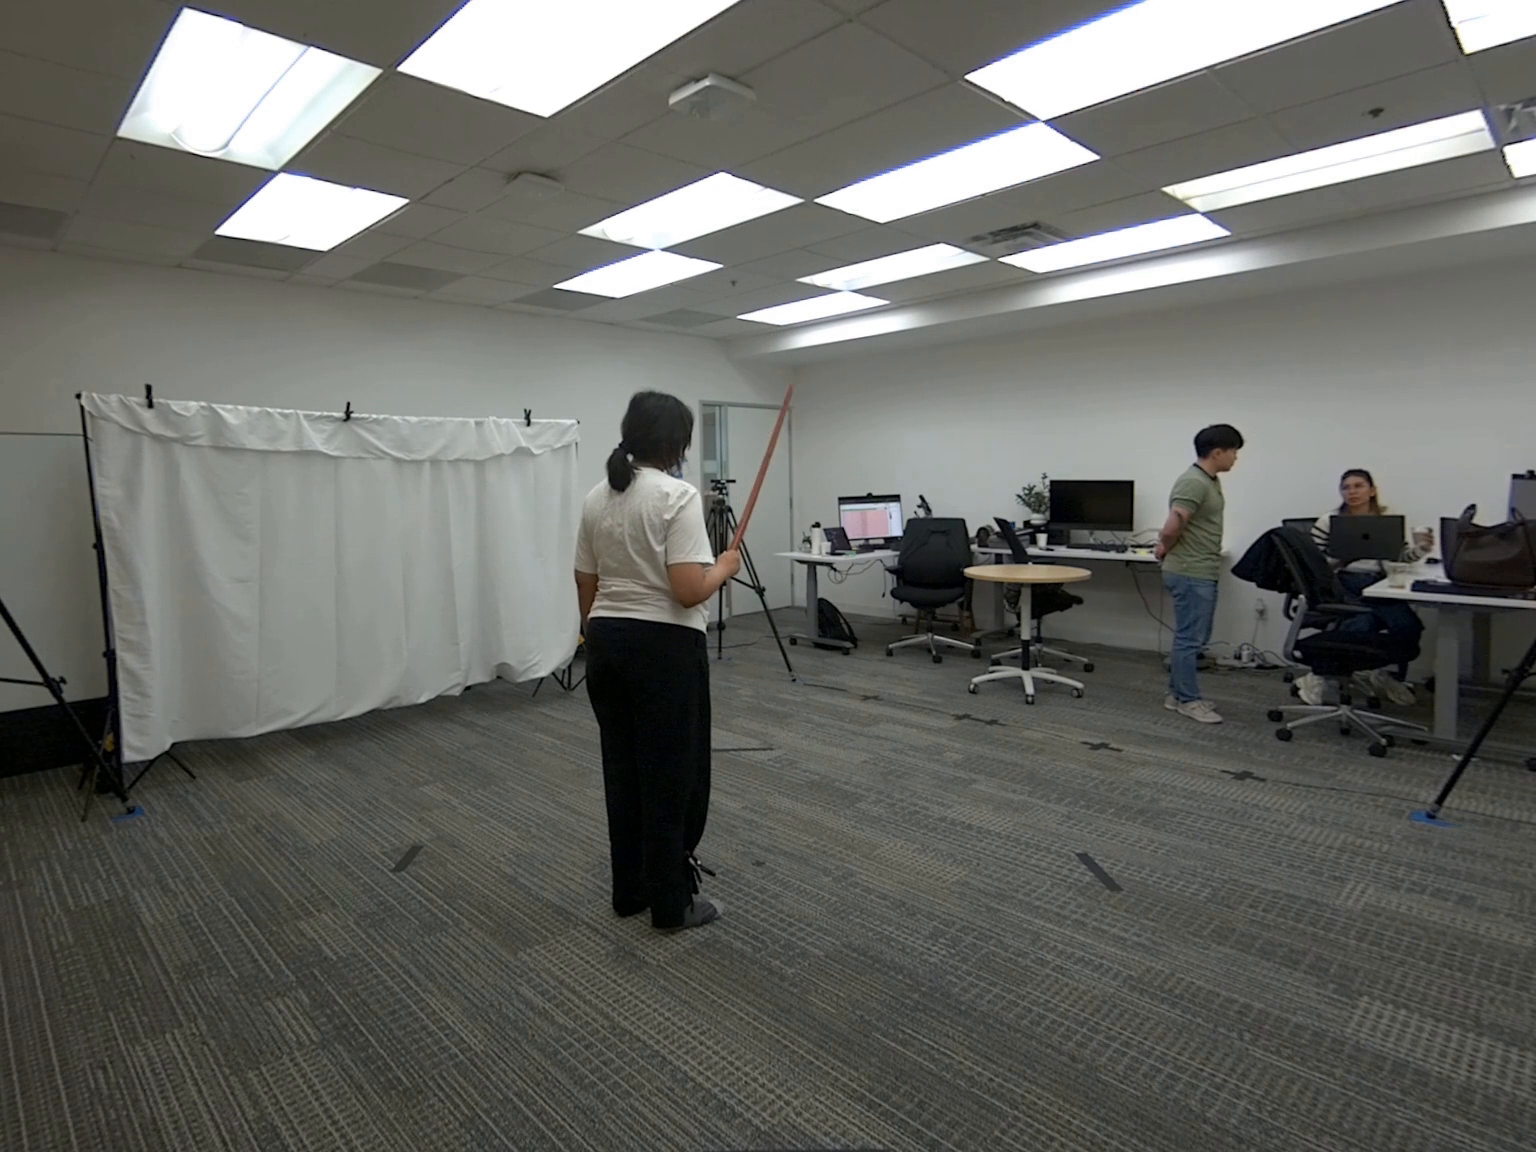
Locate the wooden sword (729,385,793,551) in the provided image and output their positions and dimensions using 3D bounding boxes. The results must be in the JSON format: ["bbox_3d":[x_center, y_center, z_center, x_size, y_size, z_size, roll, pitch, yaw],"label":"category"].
[{"bbox_3d":[-0.014,-0.381,3.102,0.024,1.041,0.050,20,-39,-4],"label":"wooden sword"}]
